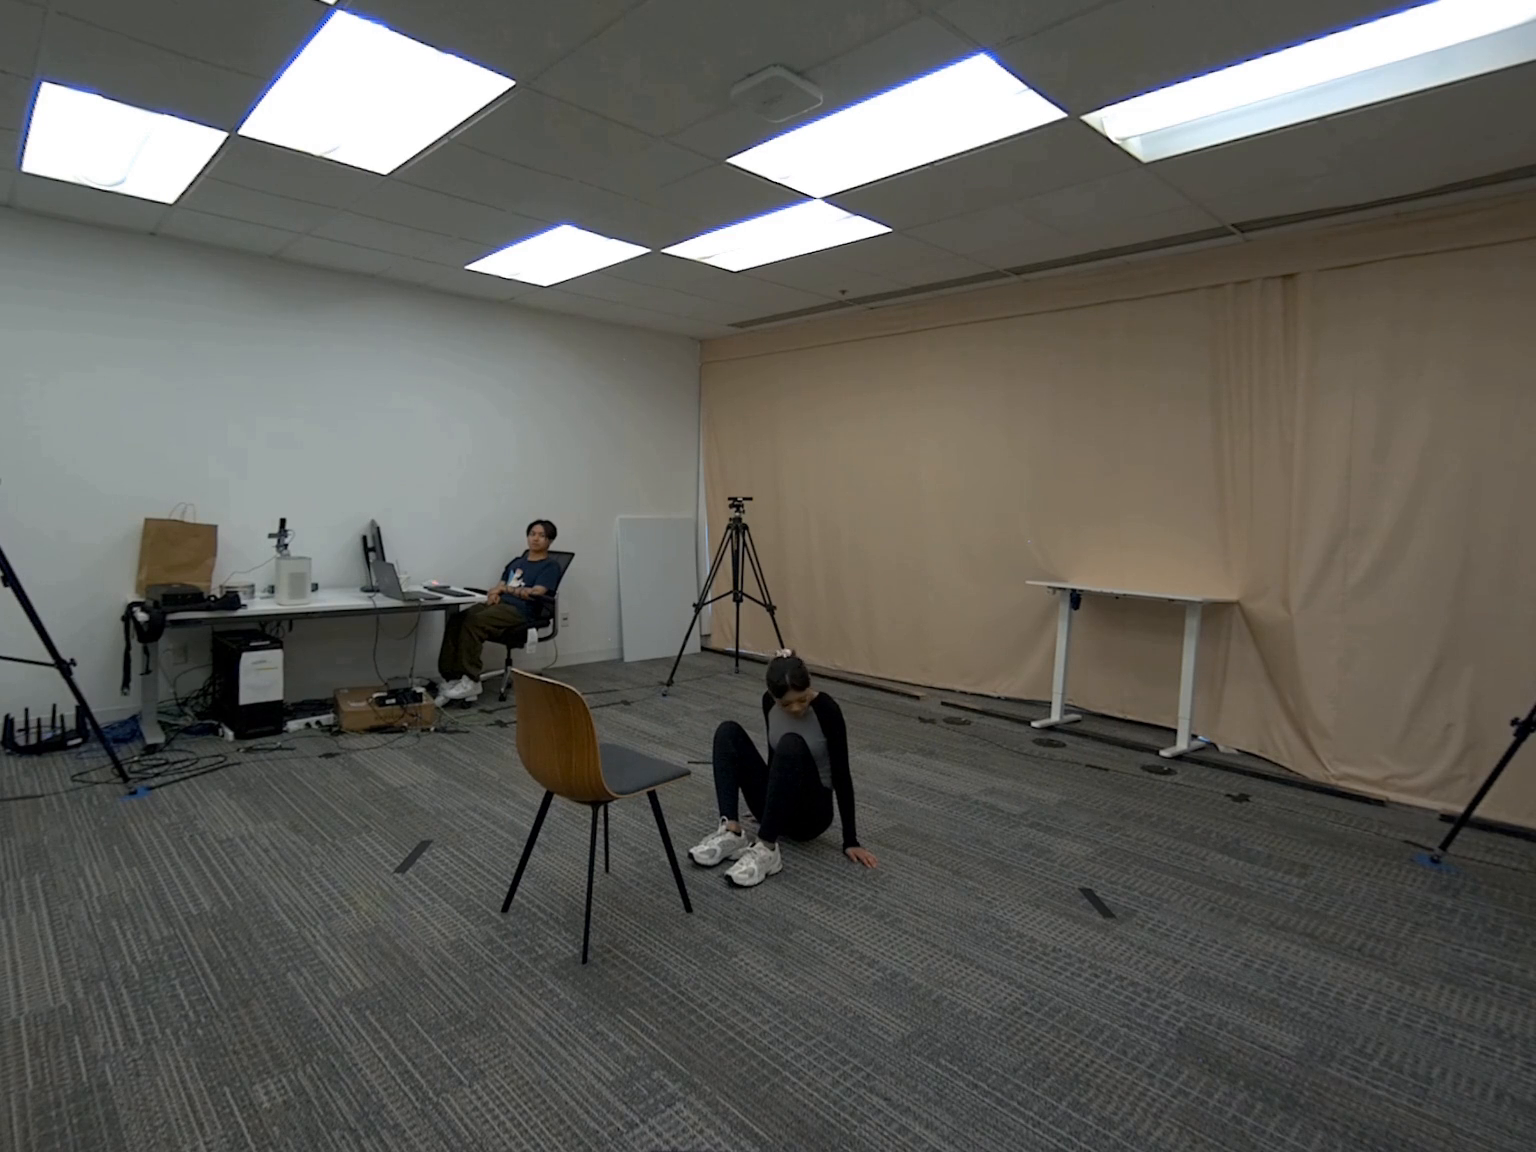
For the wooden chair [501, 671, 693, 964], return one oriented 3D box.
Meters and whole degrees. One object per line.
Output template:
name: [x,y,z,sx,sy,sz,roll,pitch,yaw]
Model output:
wooden chair: [-0.557,0.699,2.784,0.490,0.873,0.513,4,9,41]
